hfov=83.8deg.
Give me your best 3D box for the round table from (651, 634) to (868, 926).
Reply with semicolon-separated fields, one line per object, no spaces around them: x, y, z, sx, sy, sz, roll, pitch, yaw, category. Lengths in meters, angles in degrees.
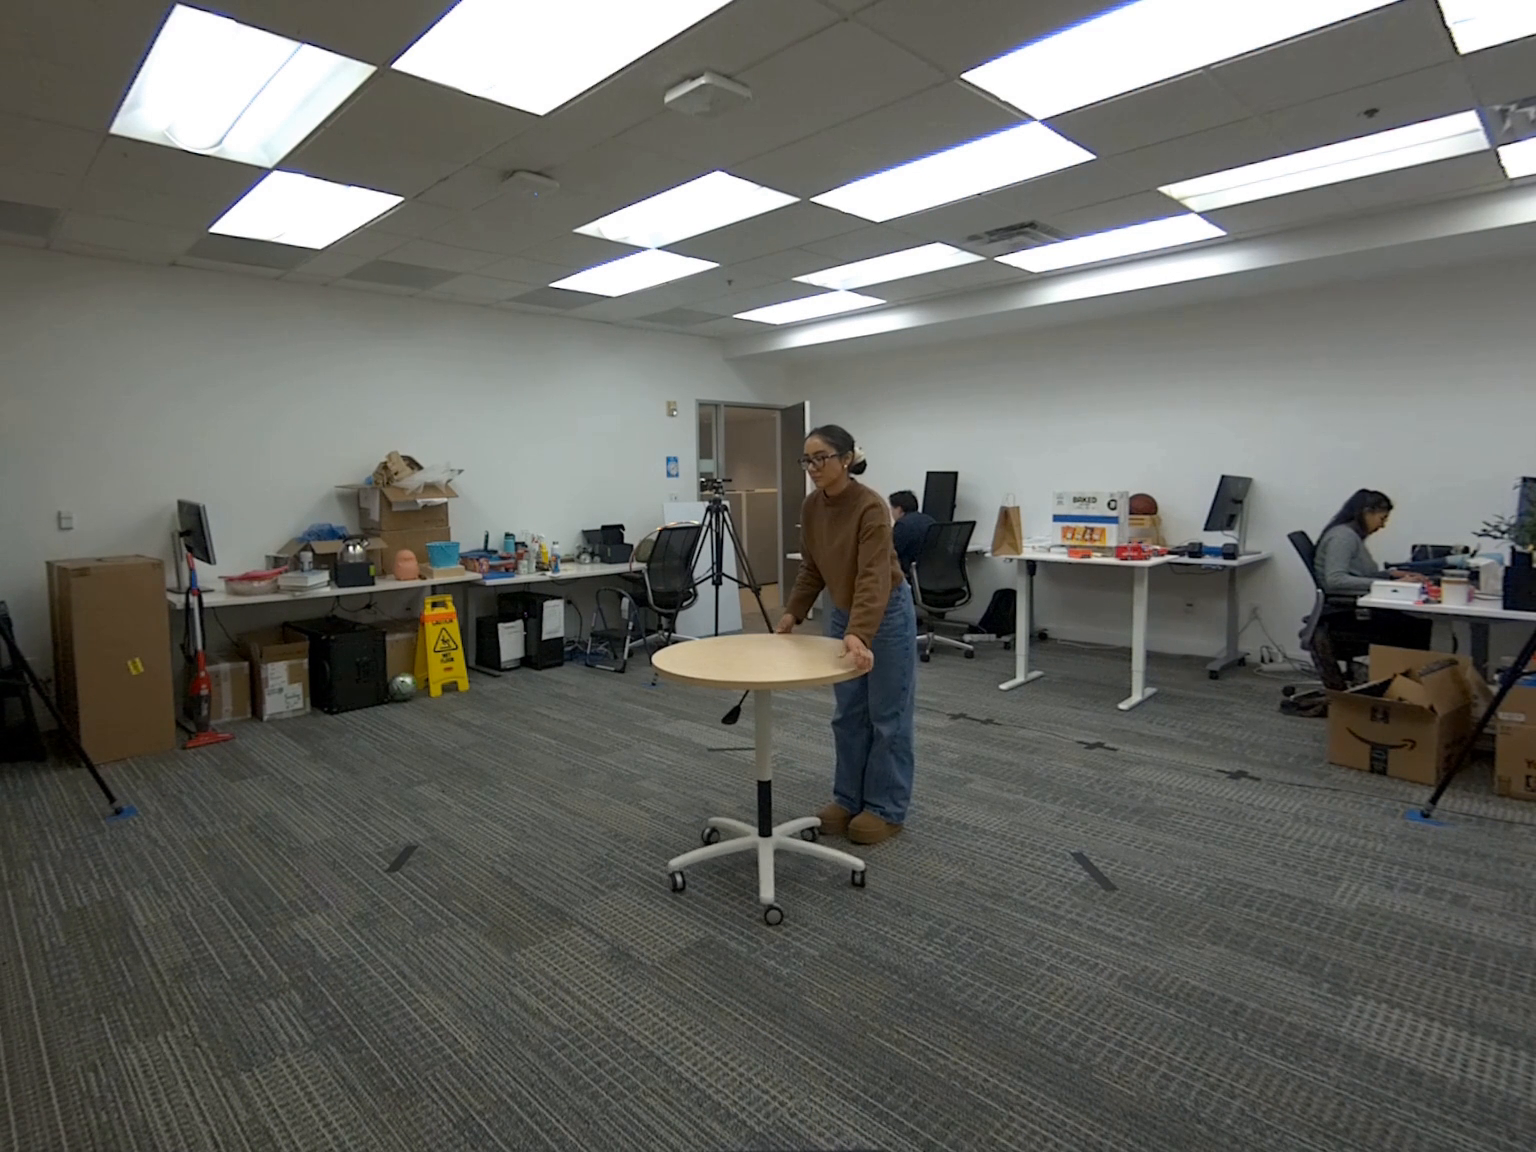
-0.009;0.665;3.000;0.763;0.790;0.768;-1;5;-2;round table
